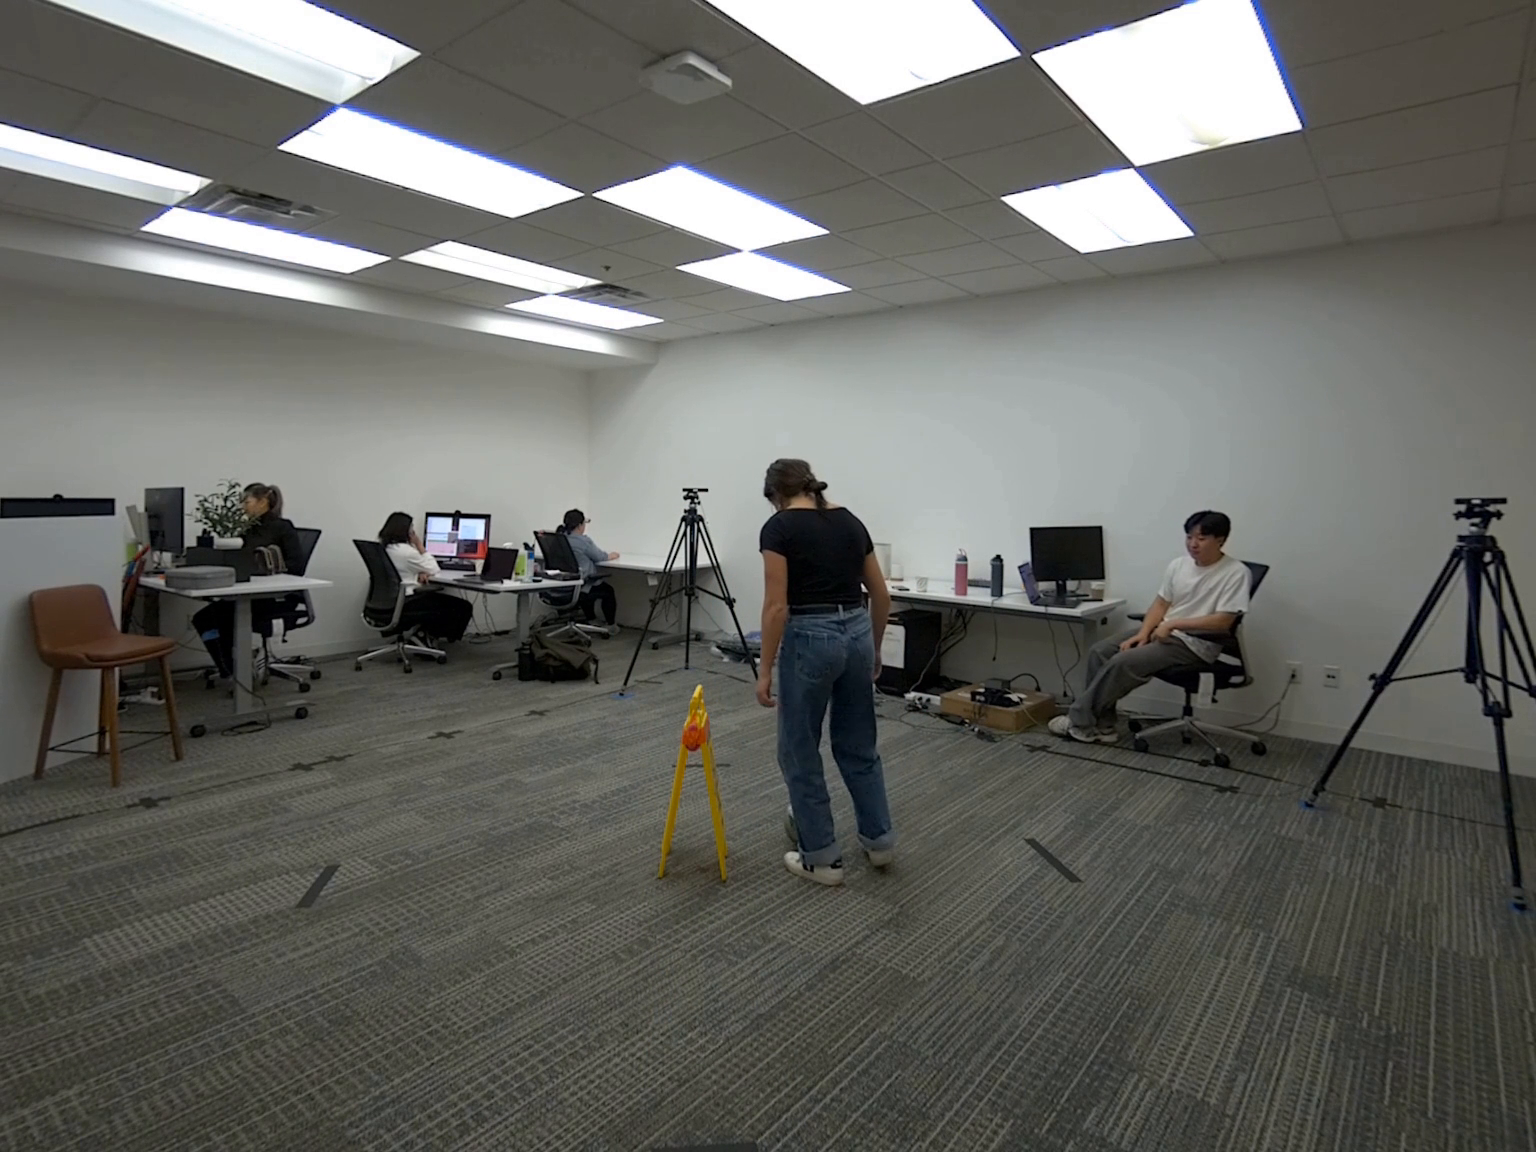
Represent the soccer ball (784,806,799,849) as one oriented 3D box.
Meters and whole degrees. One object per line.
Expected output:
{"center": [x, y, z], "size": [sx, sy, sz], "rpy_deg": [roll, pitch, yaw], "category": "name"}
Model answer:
{"center": [0.156, 0.953, 3.322], "size": [0.187, 0.187, 0.188], "rpy_deg": [1, 4, -2], "category": "soccer ball"}
